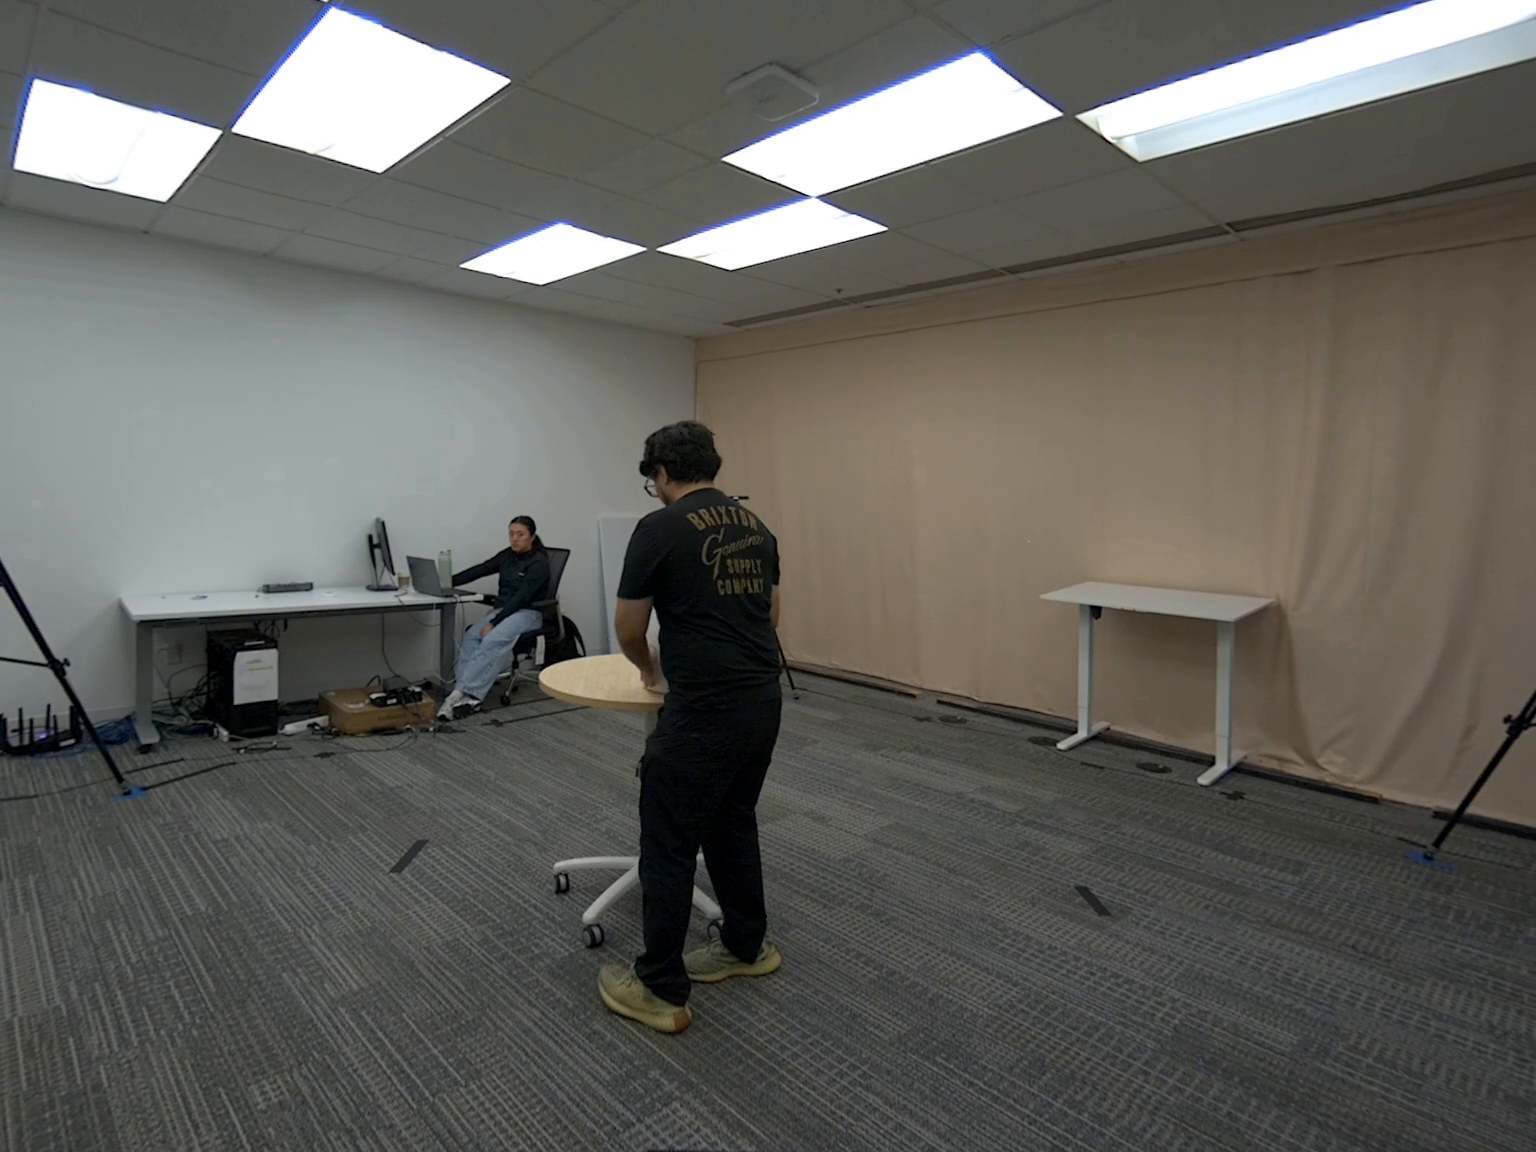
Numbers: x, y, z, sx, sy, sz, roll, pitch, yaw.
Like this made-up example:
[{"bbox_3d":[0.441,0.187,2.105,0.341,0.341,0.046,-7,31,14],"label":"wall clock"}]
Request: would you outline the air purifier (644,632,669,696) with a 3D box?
[{"bbox_3d":[-0.308,0.230,2.643,0.176,0.265,0.167,5,5,40],"label":"air purifier"}]
